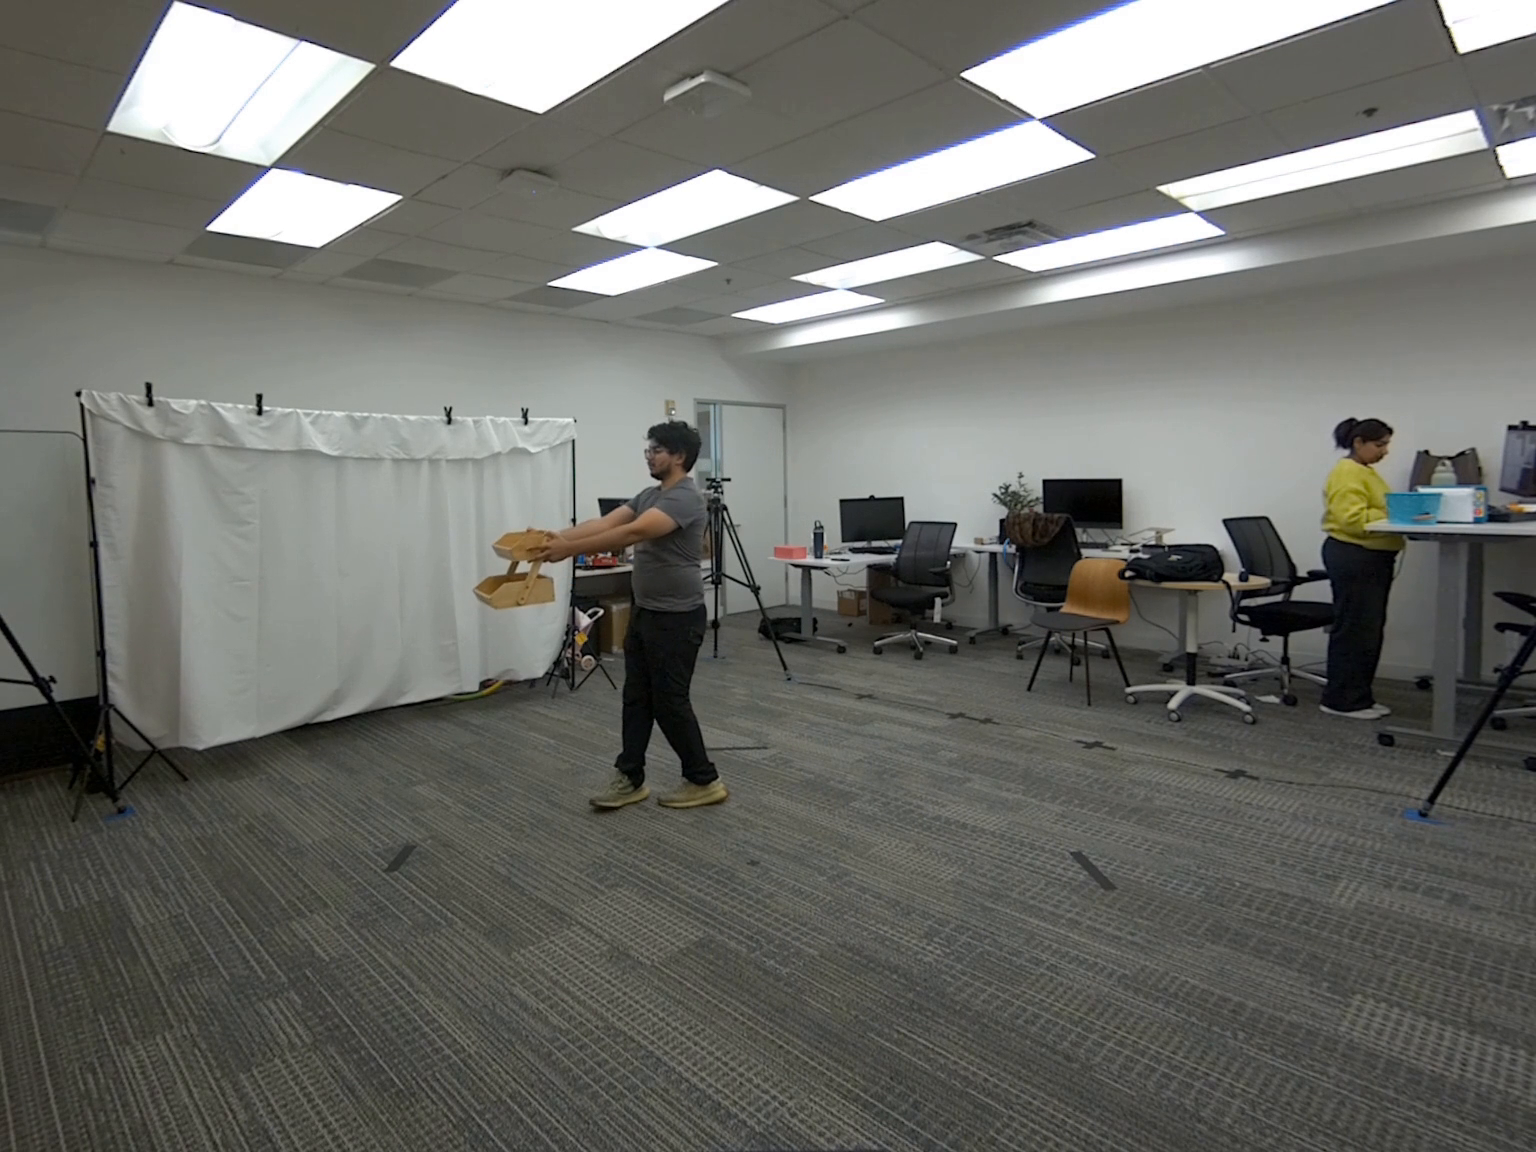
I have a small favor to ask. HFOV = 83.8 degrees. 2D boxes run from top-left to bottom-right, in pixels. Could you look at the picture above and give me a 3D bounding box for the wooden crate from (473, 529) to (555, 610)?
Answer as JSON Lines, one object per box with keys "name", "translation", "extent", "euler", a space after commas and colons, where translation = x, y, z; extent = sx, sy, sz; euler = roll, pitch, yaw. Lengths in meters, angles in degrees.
{"name": "wooden crate", "translation": [-0.986, -0.039, 3.360], "extent": [0.295, 0.272, 0.333], "euler": [-5, 7, -28]}
